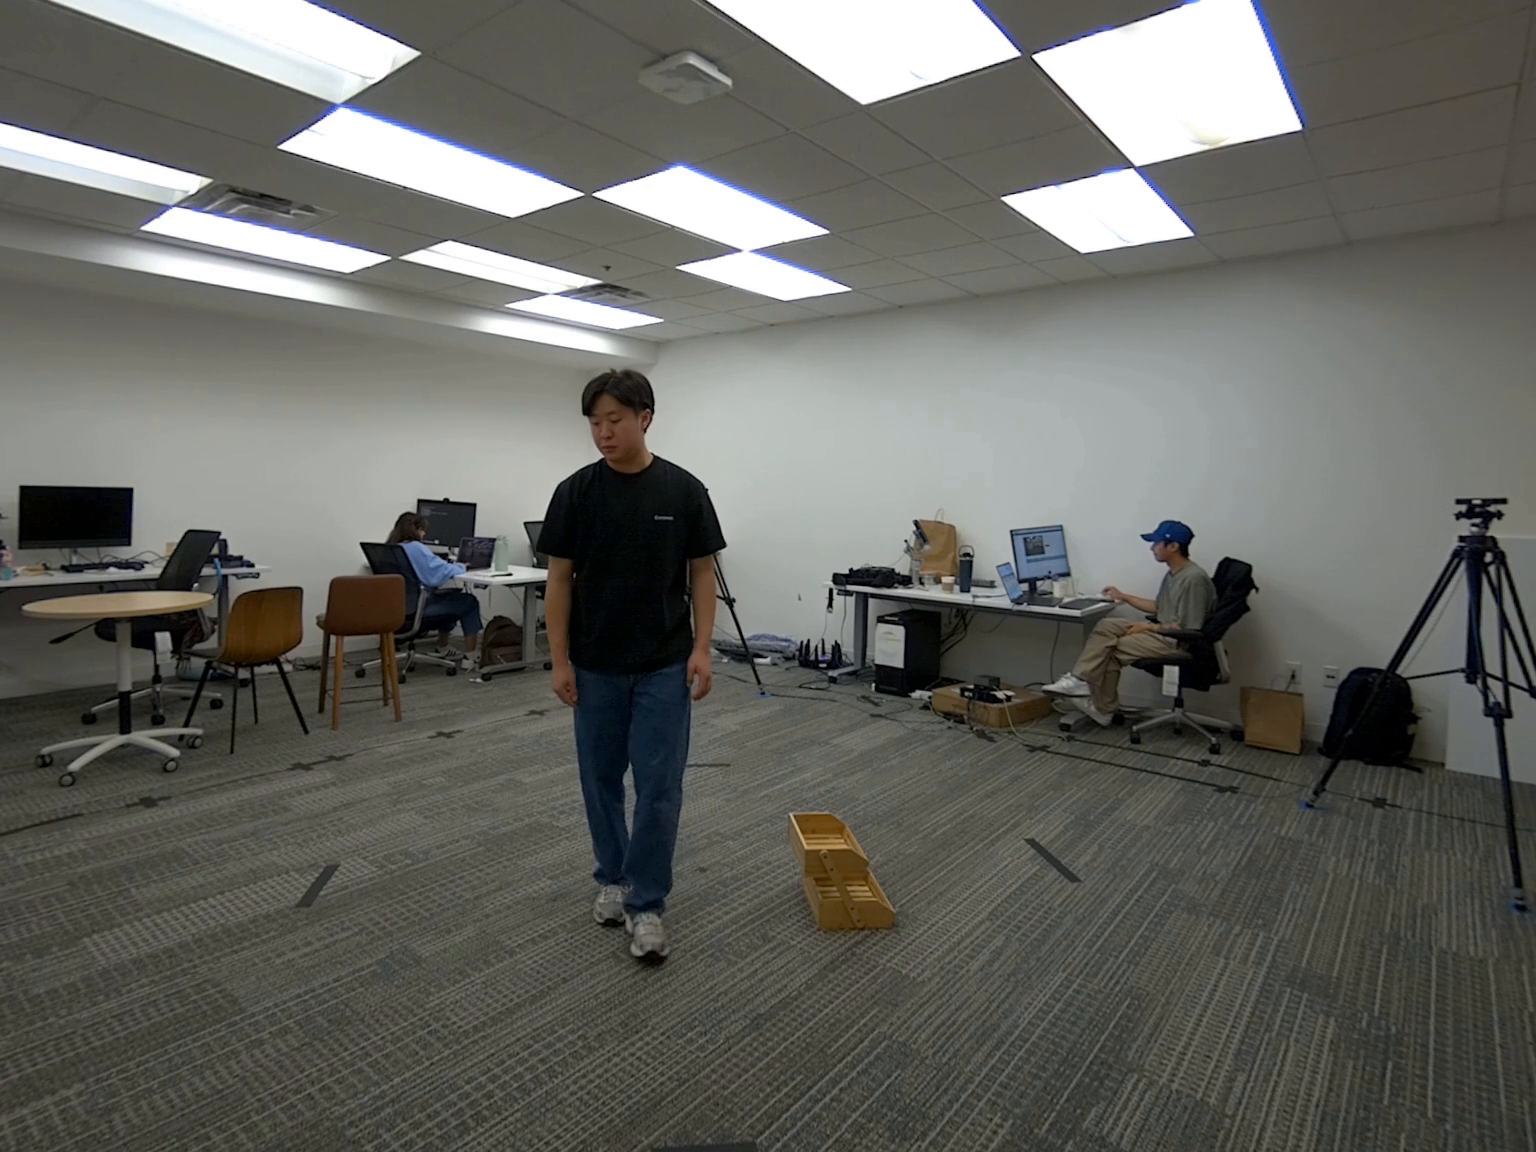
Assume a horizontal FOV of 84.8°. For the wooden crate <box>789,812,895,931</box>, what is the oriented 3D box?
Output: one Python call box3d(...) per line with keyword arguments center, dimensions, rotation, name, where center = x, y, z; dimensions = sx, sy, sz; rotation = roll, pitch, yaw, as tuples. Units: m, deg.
box3d(center=(0.240, 0.969, 2.852), dimensions=(0.300, 0.272, 0.328), rotation=(1, 4, -8), name="wooden crate")
